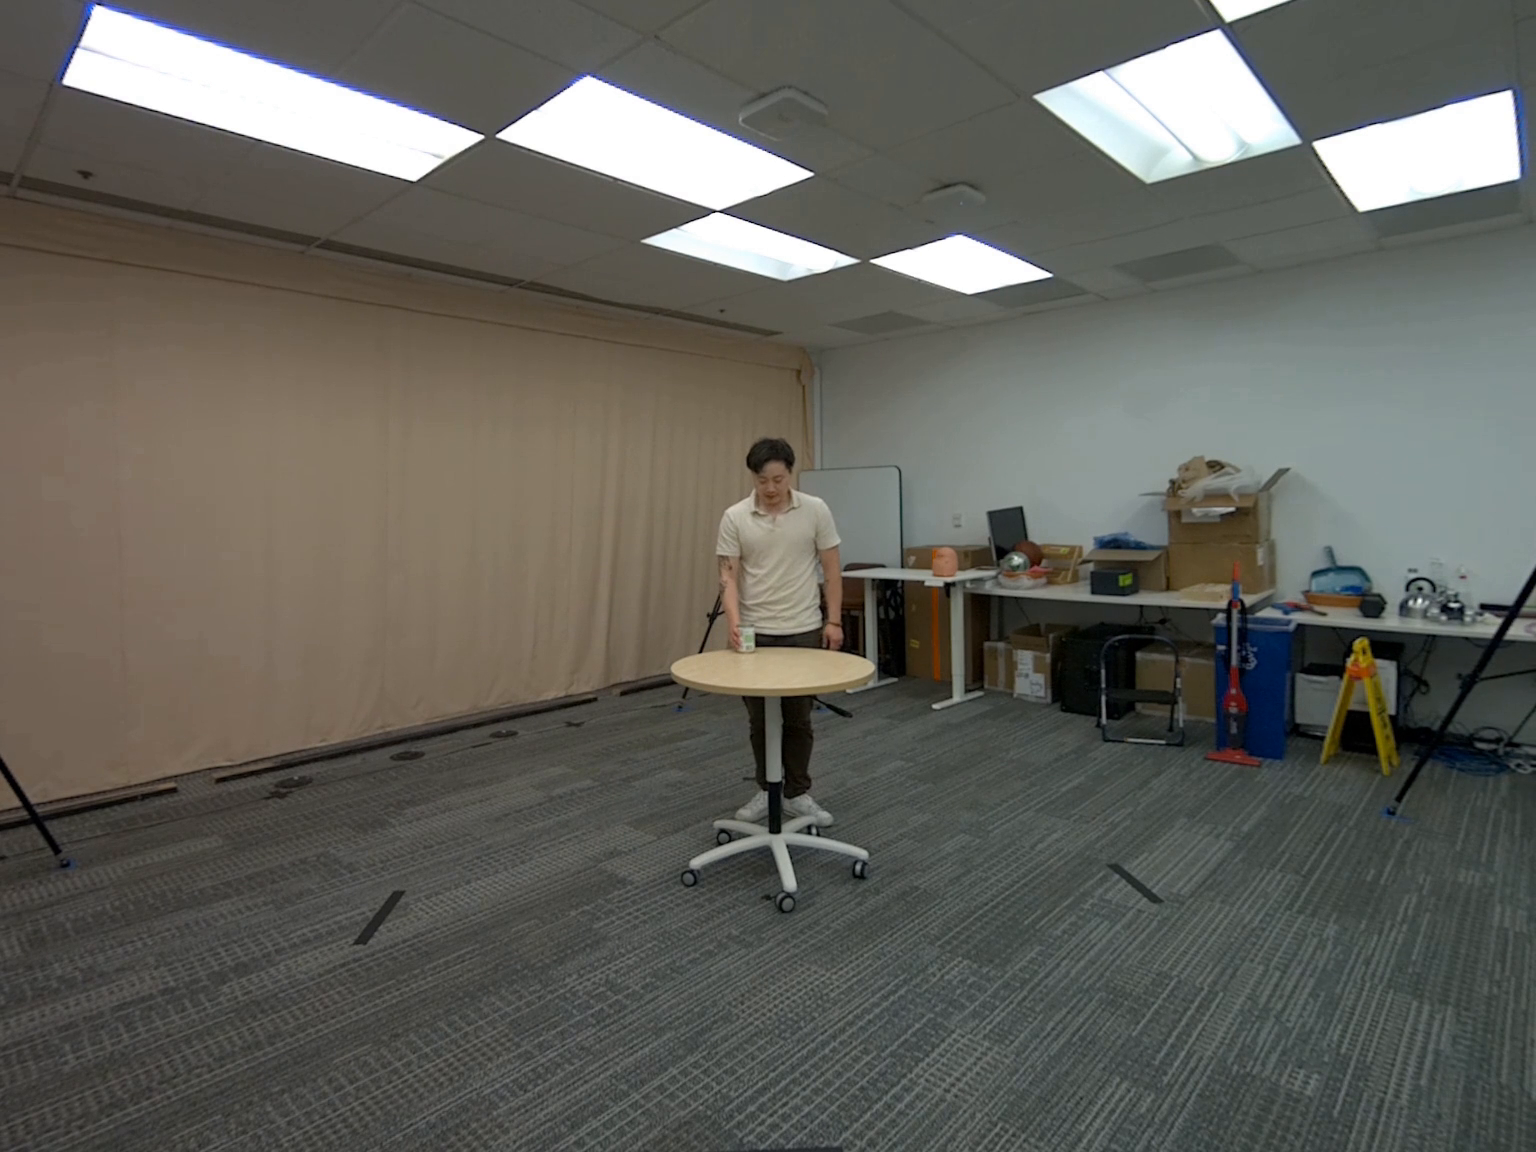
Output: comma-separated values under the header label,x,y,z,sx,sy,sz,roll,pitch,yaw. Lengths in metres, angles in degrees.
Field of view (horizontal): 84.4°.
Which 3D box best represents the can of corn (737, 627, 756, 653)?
label,x,y,z,sx,sy,sz,roll,pitch,yaw
can of corn,-0.095,0.260,3.453,0.074,0.111,0.074,-1,1,-2
